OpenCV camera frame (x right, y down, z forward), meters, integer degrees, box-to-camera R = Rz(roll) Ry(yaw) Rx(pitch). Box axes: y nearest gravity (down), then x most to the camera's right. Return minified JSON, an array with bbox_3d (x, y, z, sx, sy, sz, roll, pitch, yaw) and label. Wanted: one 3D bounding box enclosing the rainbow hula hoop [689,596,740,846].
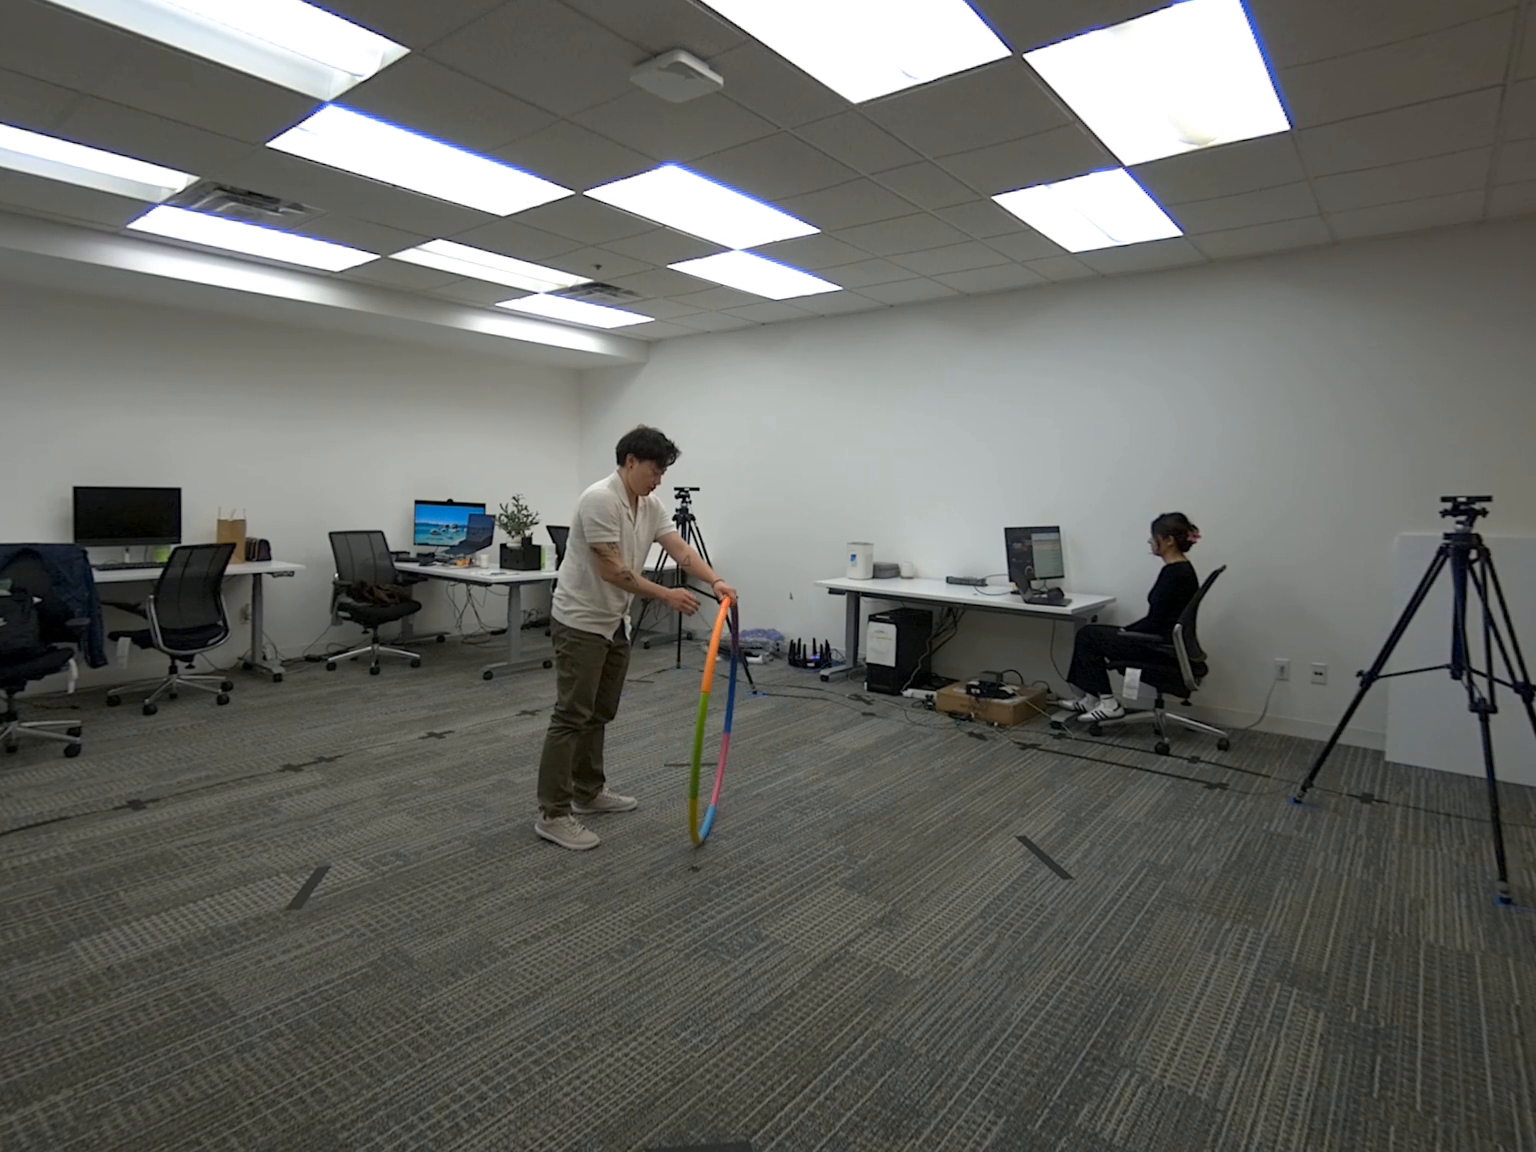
[{"bbox_3d":[-0.218,0.557,3.395,0.036,0.975,0.975,7,5,4],"label":"rainbow hula hoop"}]
